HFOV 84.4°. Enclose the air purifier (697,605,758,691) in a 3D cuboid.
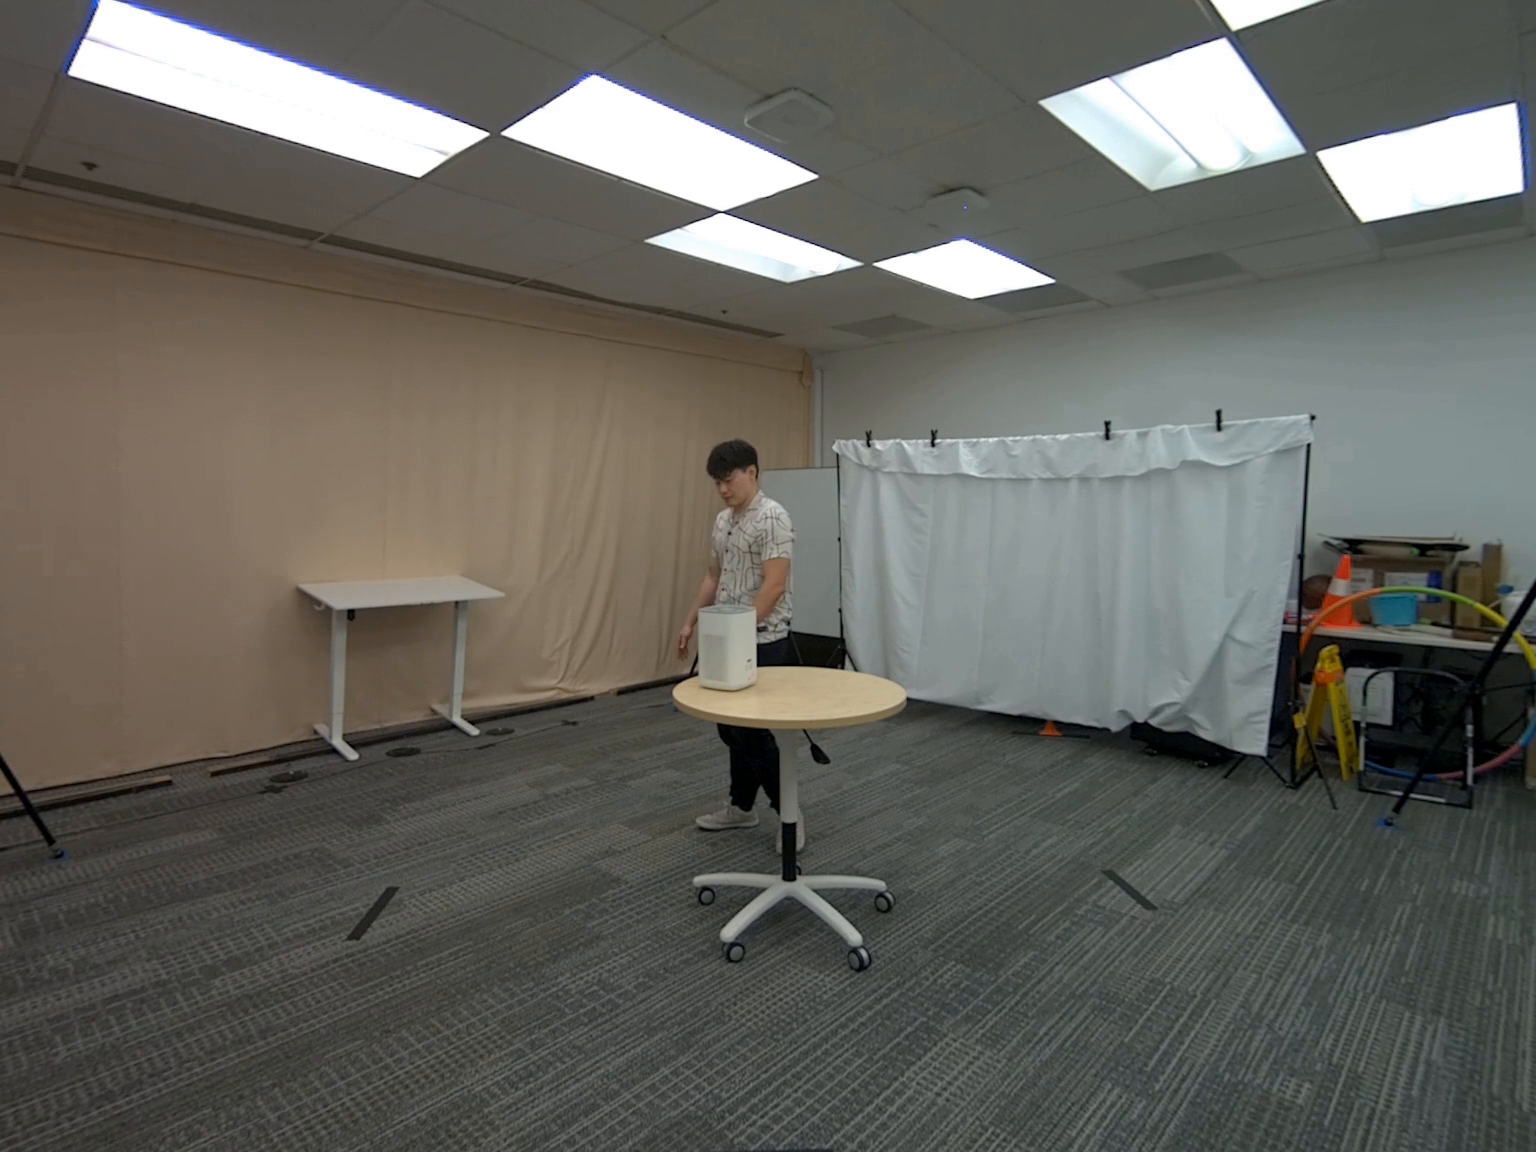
[{"bbox_3d":[-0.132,0.239,2.853,0.176,0.265,0.166,2,4,30],"label":"air purifier"}]
